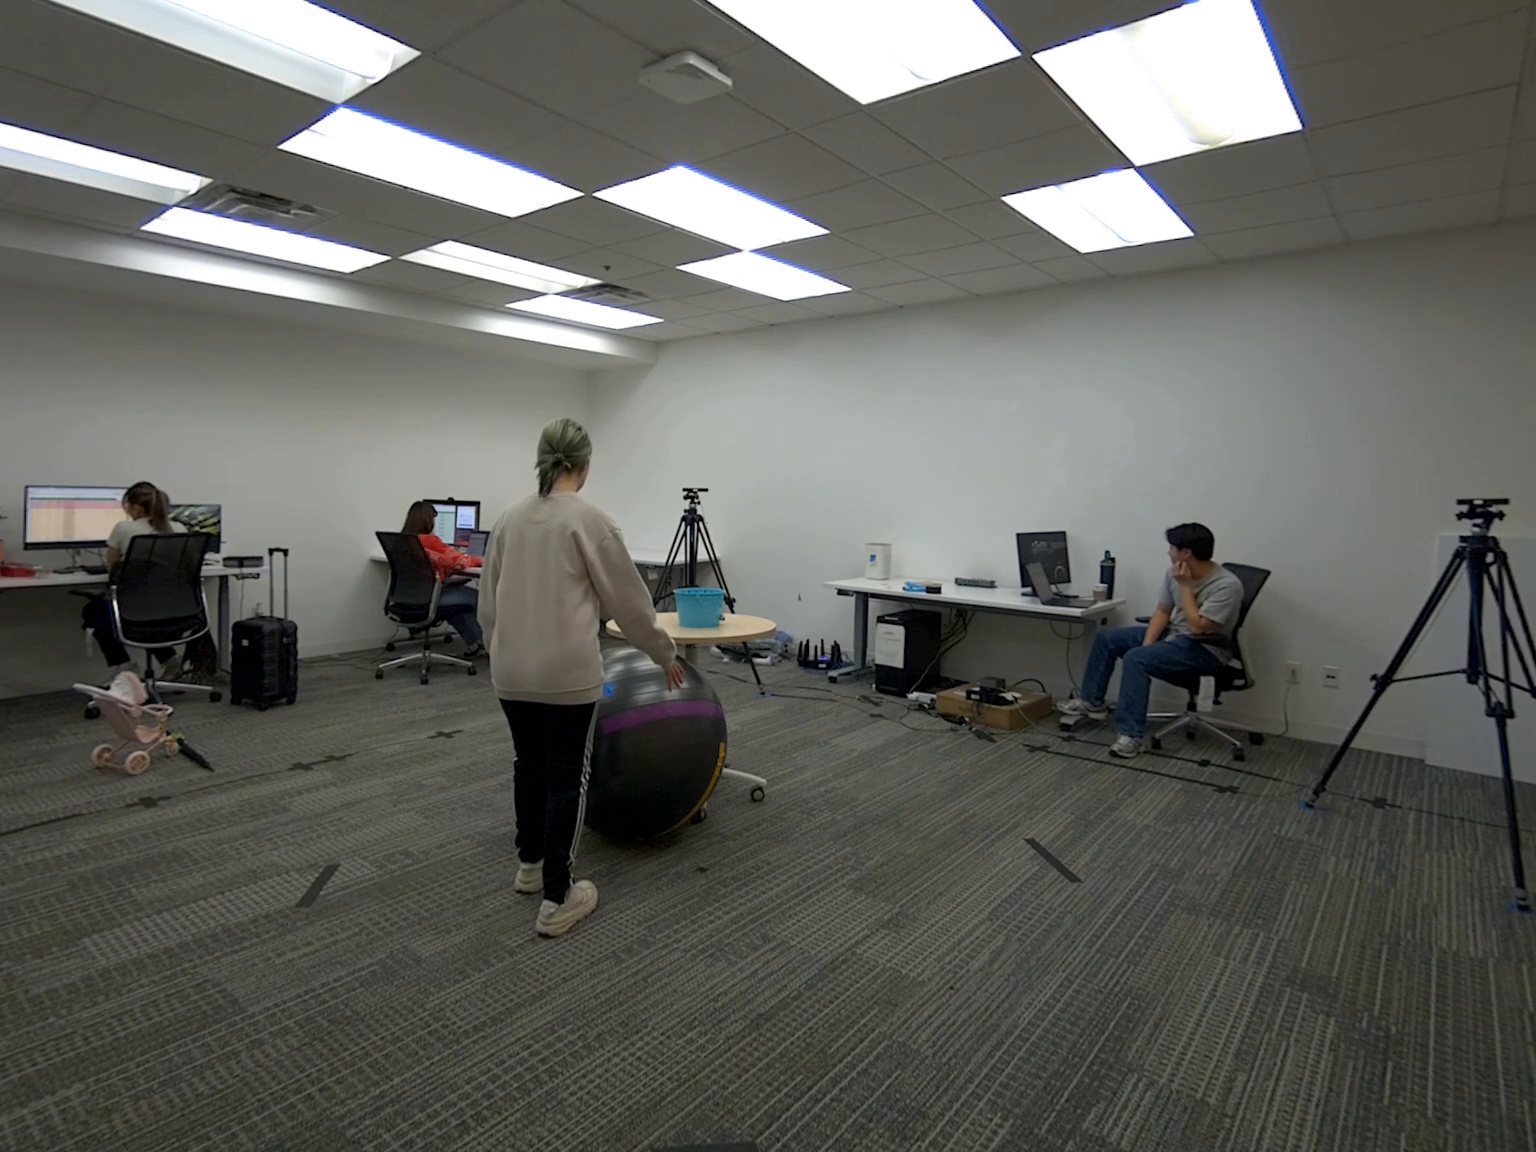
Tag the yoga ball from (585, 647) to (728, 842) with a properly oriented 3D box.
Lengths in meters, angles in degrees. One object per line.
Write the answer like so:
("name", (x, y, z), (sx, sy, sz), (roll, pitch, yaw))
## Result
("yoga ball", (-0.559, 0.667, 3.449), (0.757, 0.756, 0.762), (1, 4, -2))
